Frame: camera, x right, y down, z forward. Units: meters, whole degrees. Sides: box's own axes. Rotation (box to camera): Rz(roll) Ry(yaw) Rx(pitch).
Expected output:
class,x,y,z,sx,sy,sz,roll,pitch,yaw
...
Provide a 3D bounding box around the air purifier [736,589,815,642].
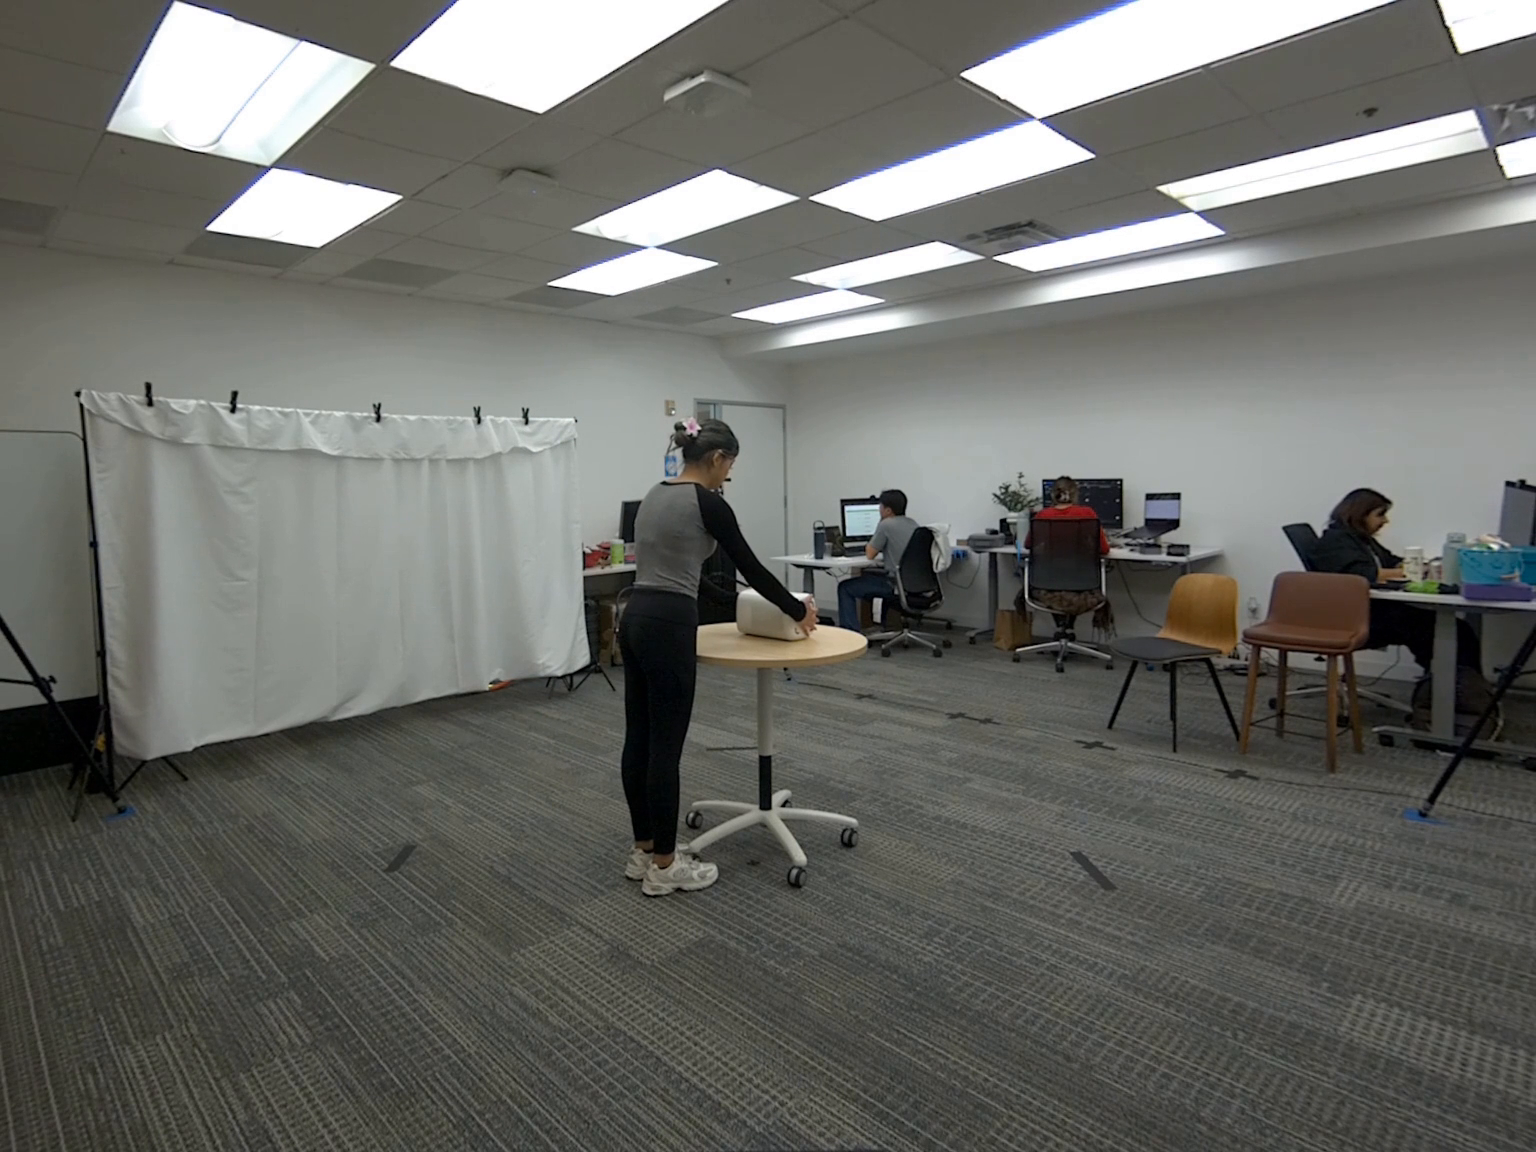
class,x,y,z,sx,sy,sz,roll,pitch,yaw
air purifier,0.037,0.143,3.256,0.273,0.171,0.167,4,8,40
